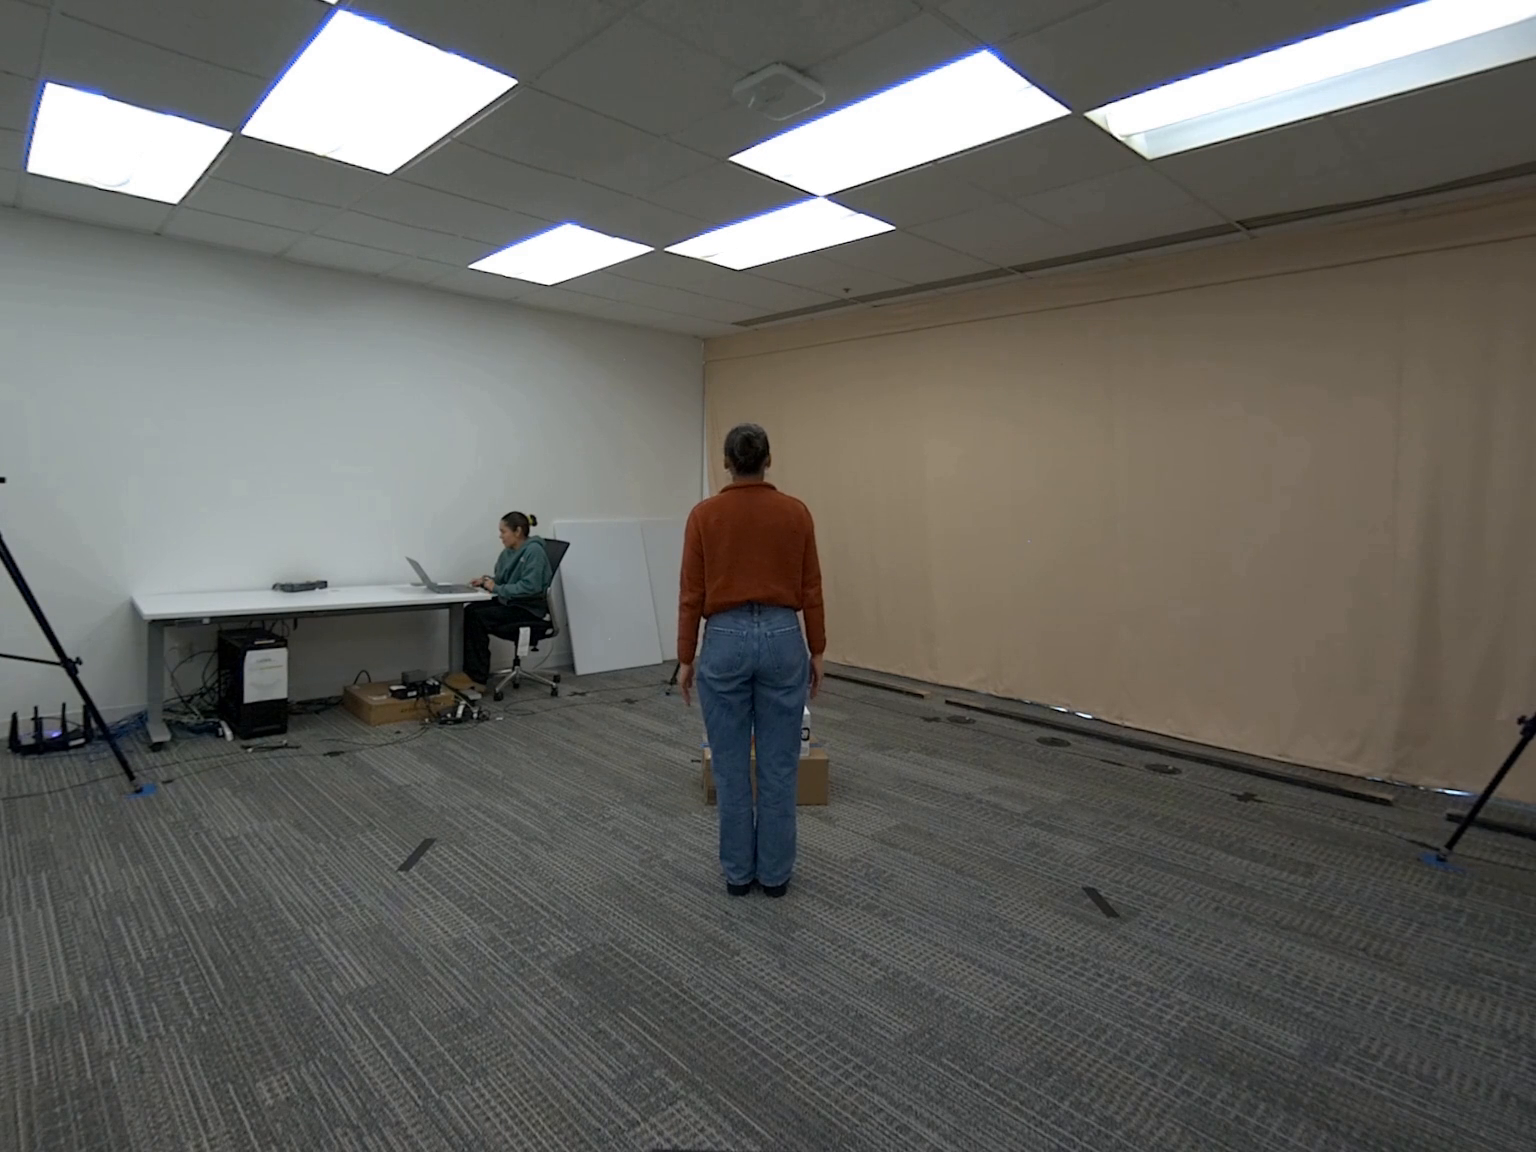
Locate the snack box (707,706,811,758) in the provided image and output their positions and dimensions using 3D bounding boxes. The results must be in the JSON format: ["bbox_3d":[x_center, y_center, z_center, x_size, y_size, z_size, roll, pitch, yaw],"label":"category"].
[{"bbox_3d":[-0.032,0.710,4.009,0.403,0.205,0.343,1,5,-6],"label":"snack box"}]
